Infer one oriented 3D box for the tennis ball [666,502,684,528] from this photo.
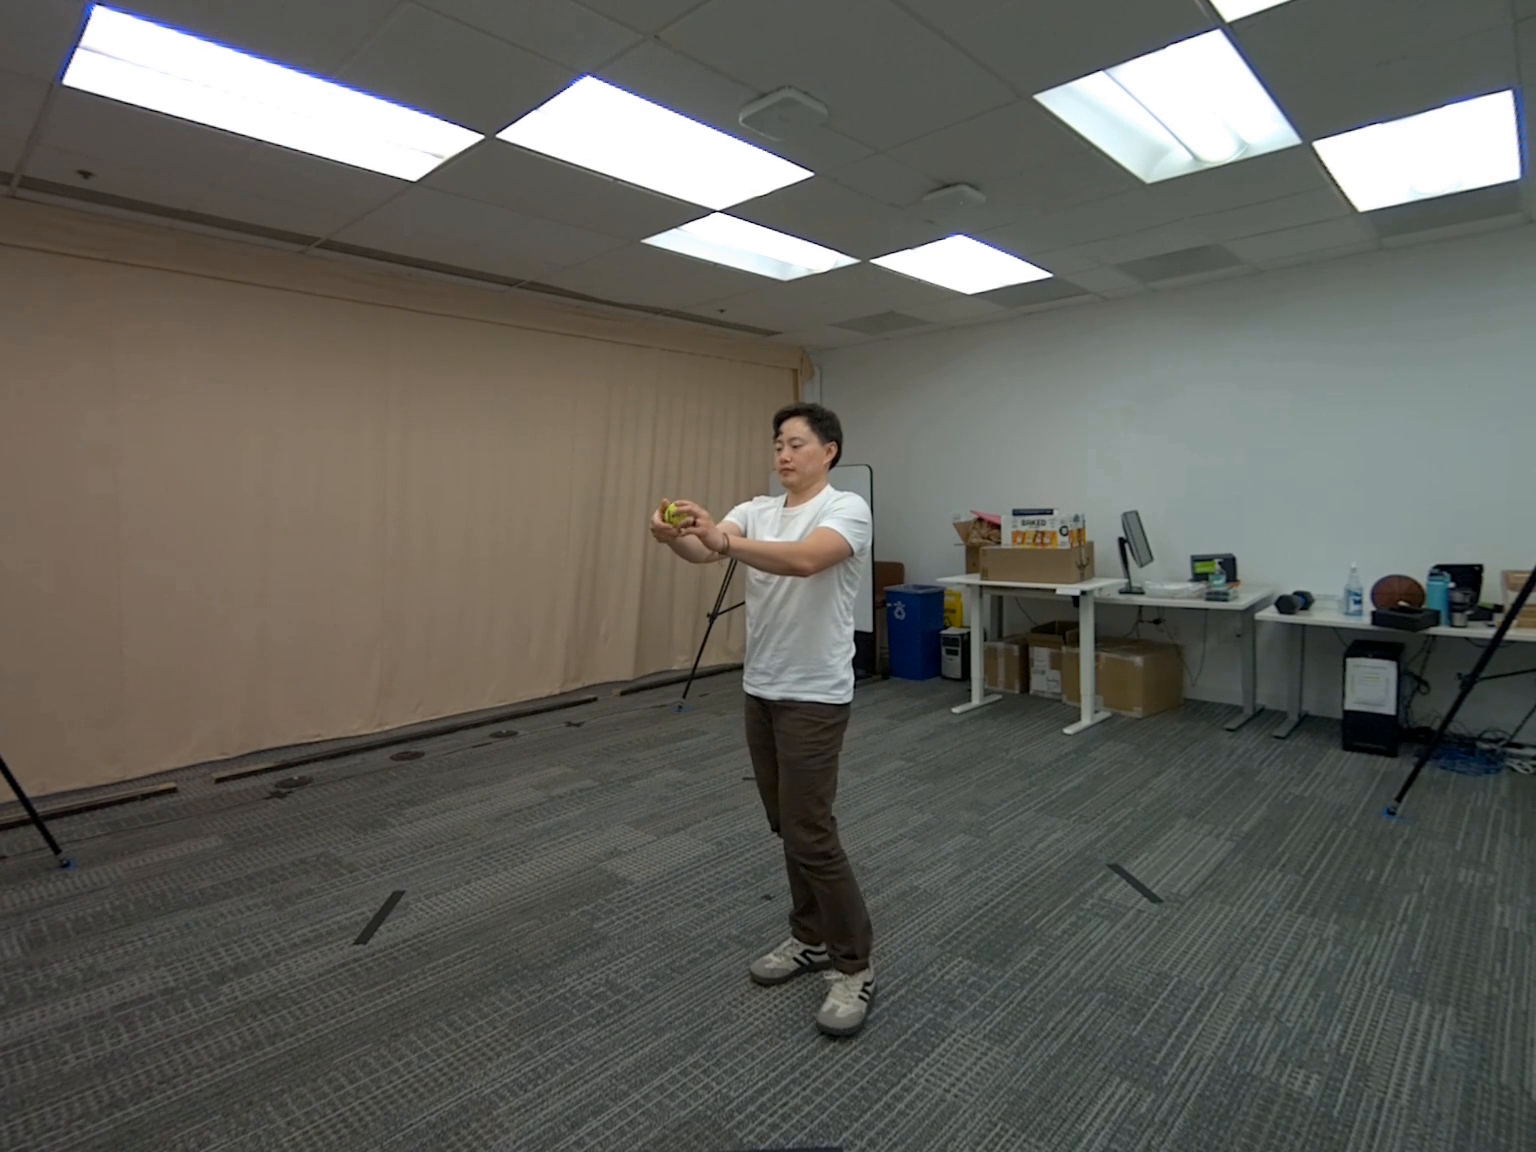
[{"bbox_3d":[-0.199,-0.164,2.132,0.066,0.066,0.067,-1,4,-2],"label":"tennis ball"}]
